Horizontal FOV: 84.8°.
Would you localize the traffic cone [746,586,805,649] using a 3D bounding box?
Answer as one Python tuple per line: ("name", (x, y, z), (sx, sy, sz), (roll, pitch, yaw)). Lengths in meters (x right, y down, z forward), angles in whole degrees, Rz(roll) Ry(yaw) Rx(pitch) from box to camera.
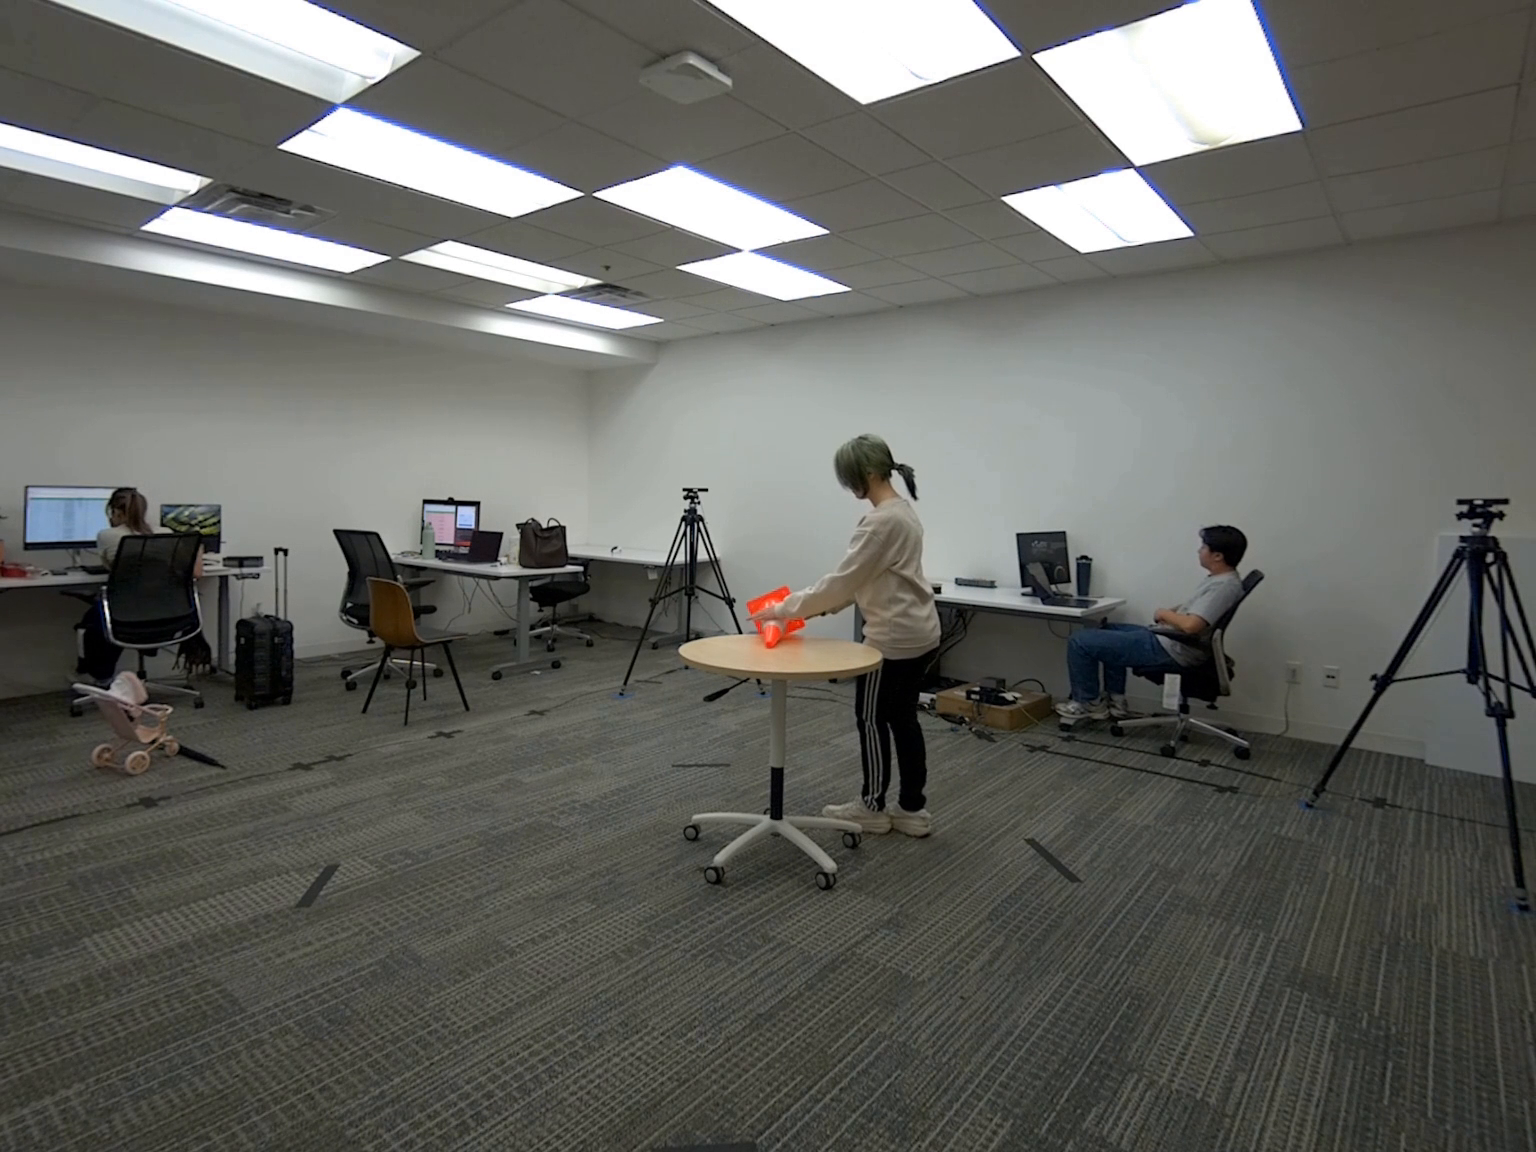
("traffic cone", (0.010, 0.219, 3.463), (0.205, 0.202, 0.387), (-25, 13, 12))
